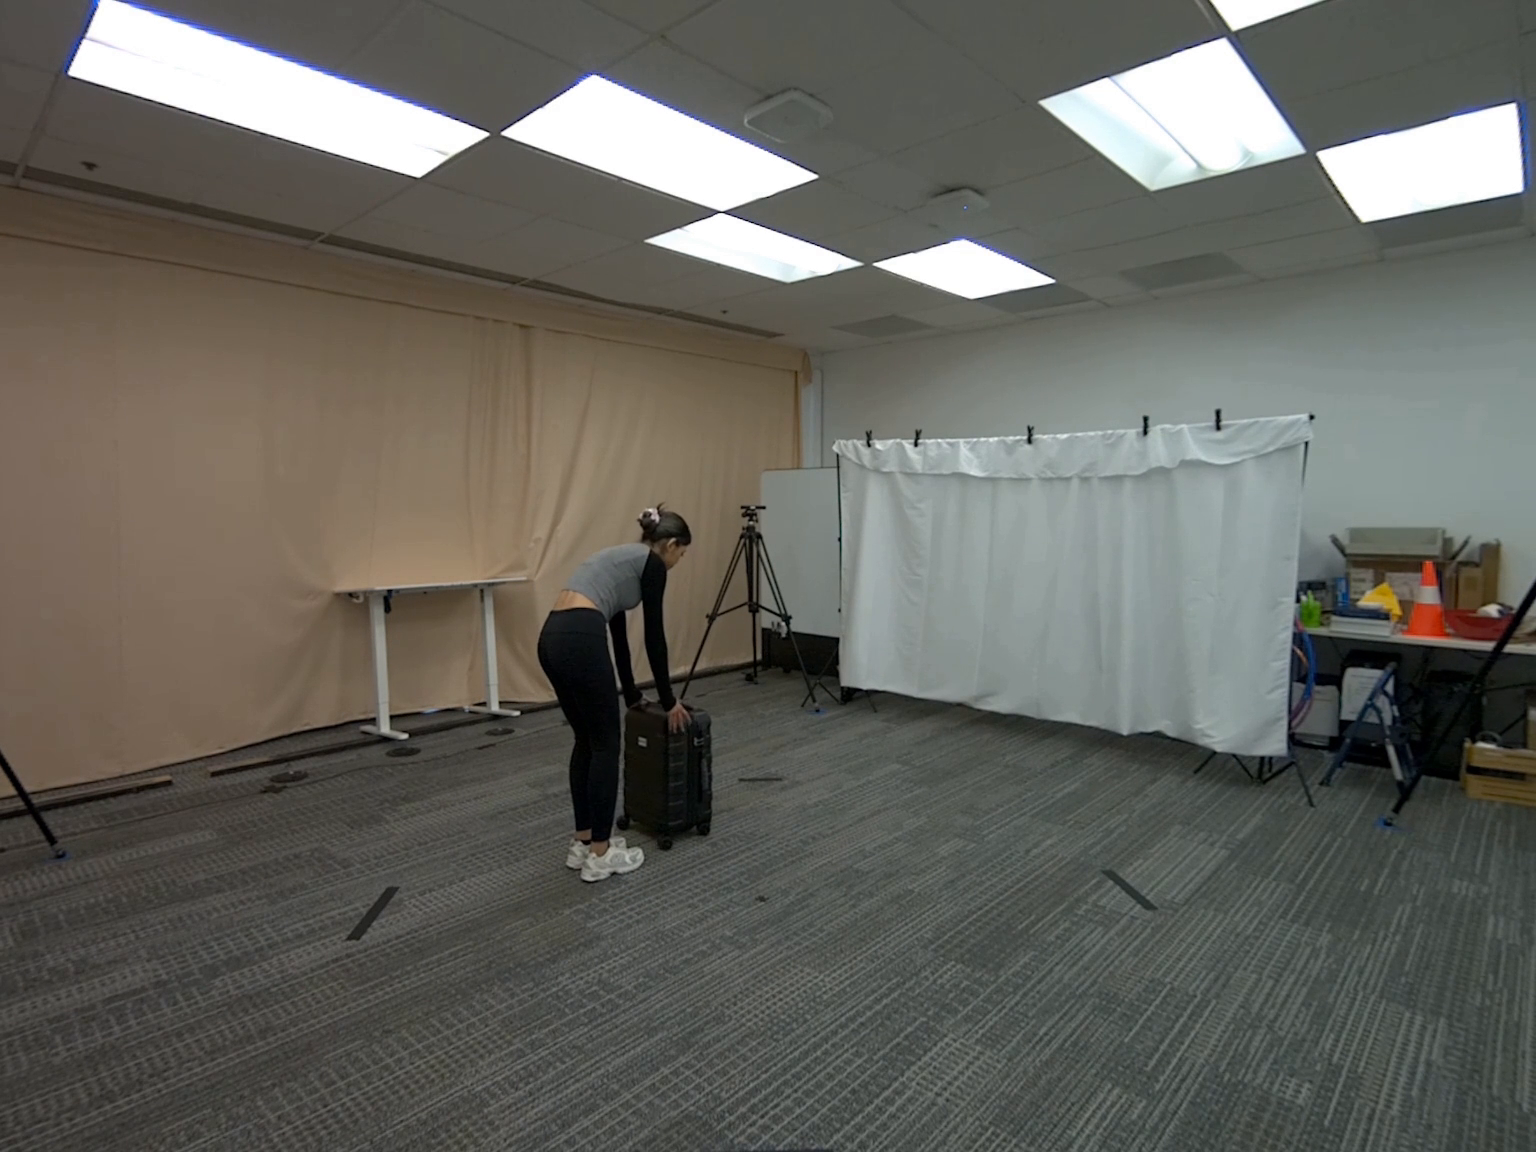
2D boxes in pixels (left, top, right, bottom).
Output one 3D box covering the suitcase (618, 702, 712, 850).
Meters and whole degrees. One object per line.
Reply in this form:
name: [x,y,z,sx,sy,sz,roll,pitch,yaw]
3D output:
suitcase: [-0.428,0.819,3.602,0.240,0.548,0.388,-1,4,-44]
